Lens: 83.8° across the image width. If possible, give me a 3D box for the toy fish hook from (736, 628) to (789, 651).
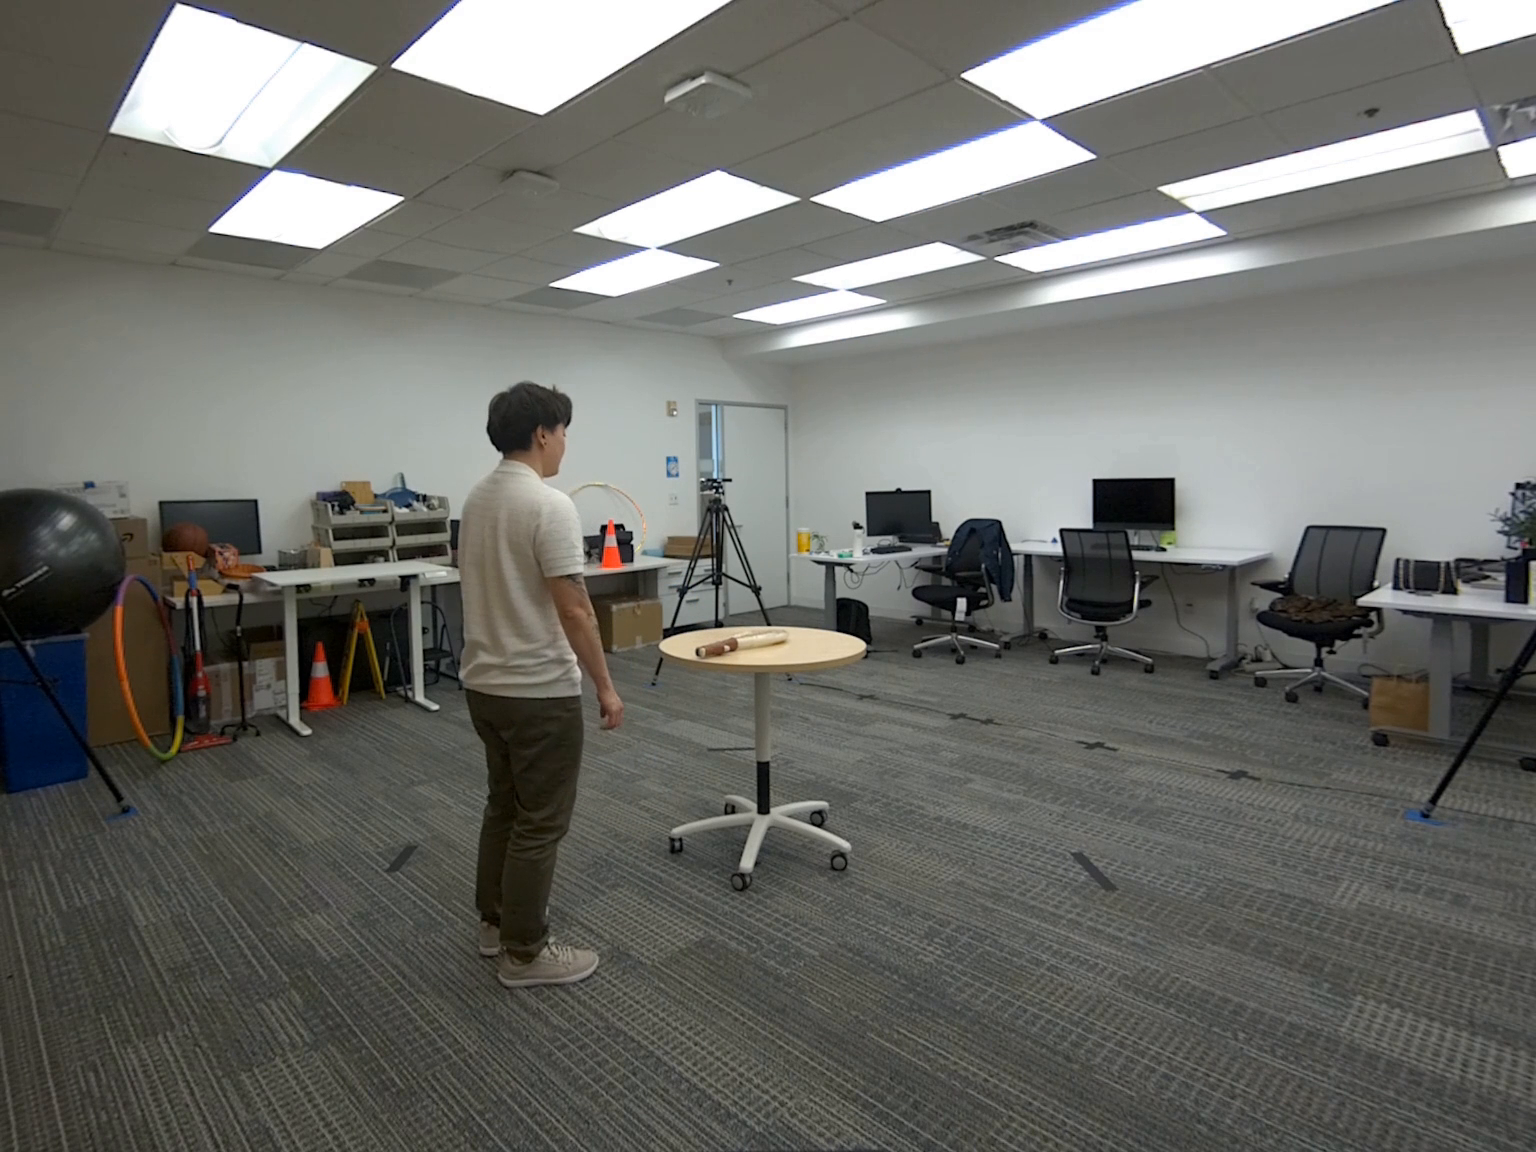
[{"bbox_3d":[-0.124,0.248,3.119,0.230,0.048,0.493,-6,0,38],"label":"toy fish hook"}]
